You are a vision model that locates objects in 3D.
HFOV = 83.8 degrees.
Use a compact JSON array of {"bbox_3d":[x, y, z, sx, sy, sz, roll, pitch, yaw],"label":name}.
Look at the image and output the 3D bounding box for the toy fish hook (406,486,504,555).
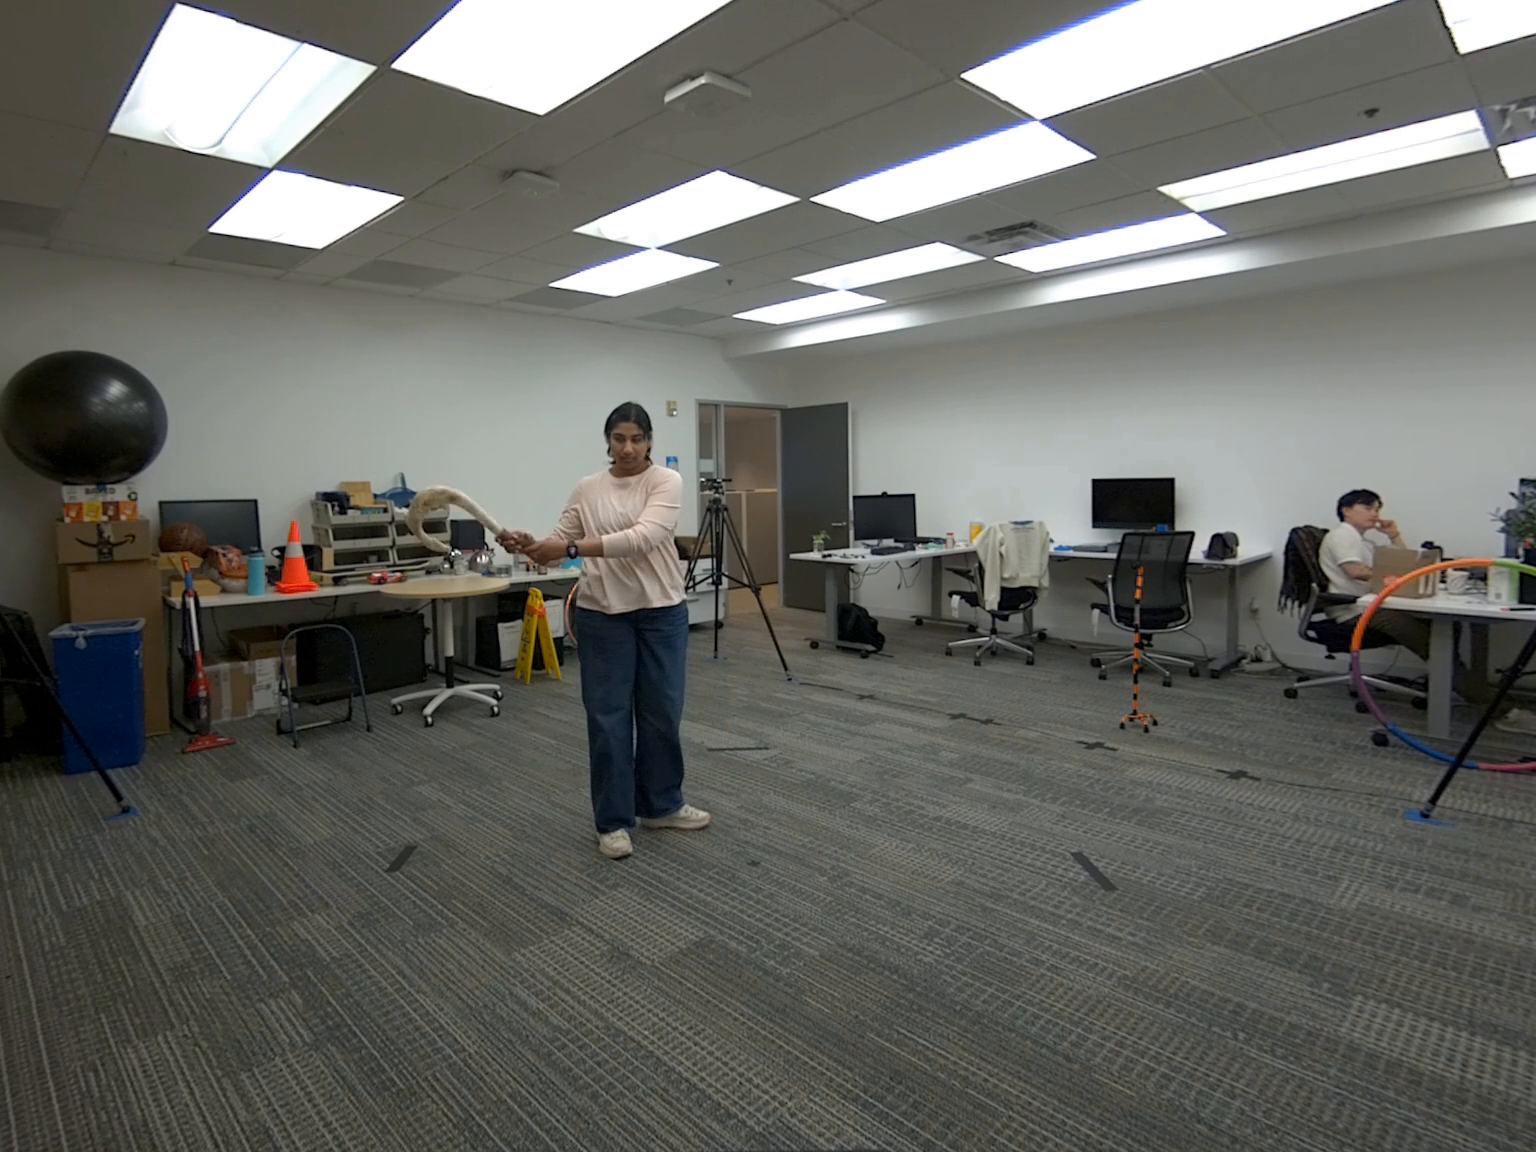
[{"bbox_3d":[-0.958,-0.134,2.920,0.489,0.224,0.050,30,11,-32],"label":"toy fish hook"}]
